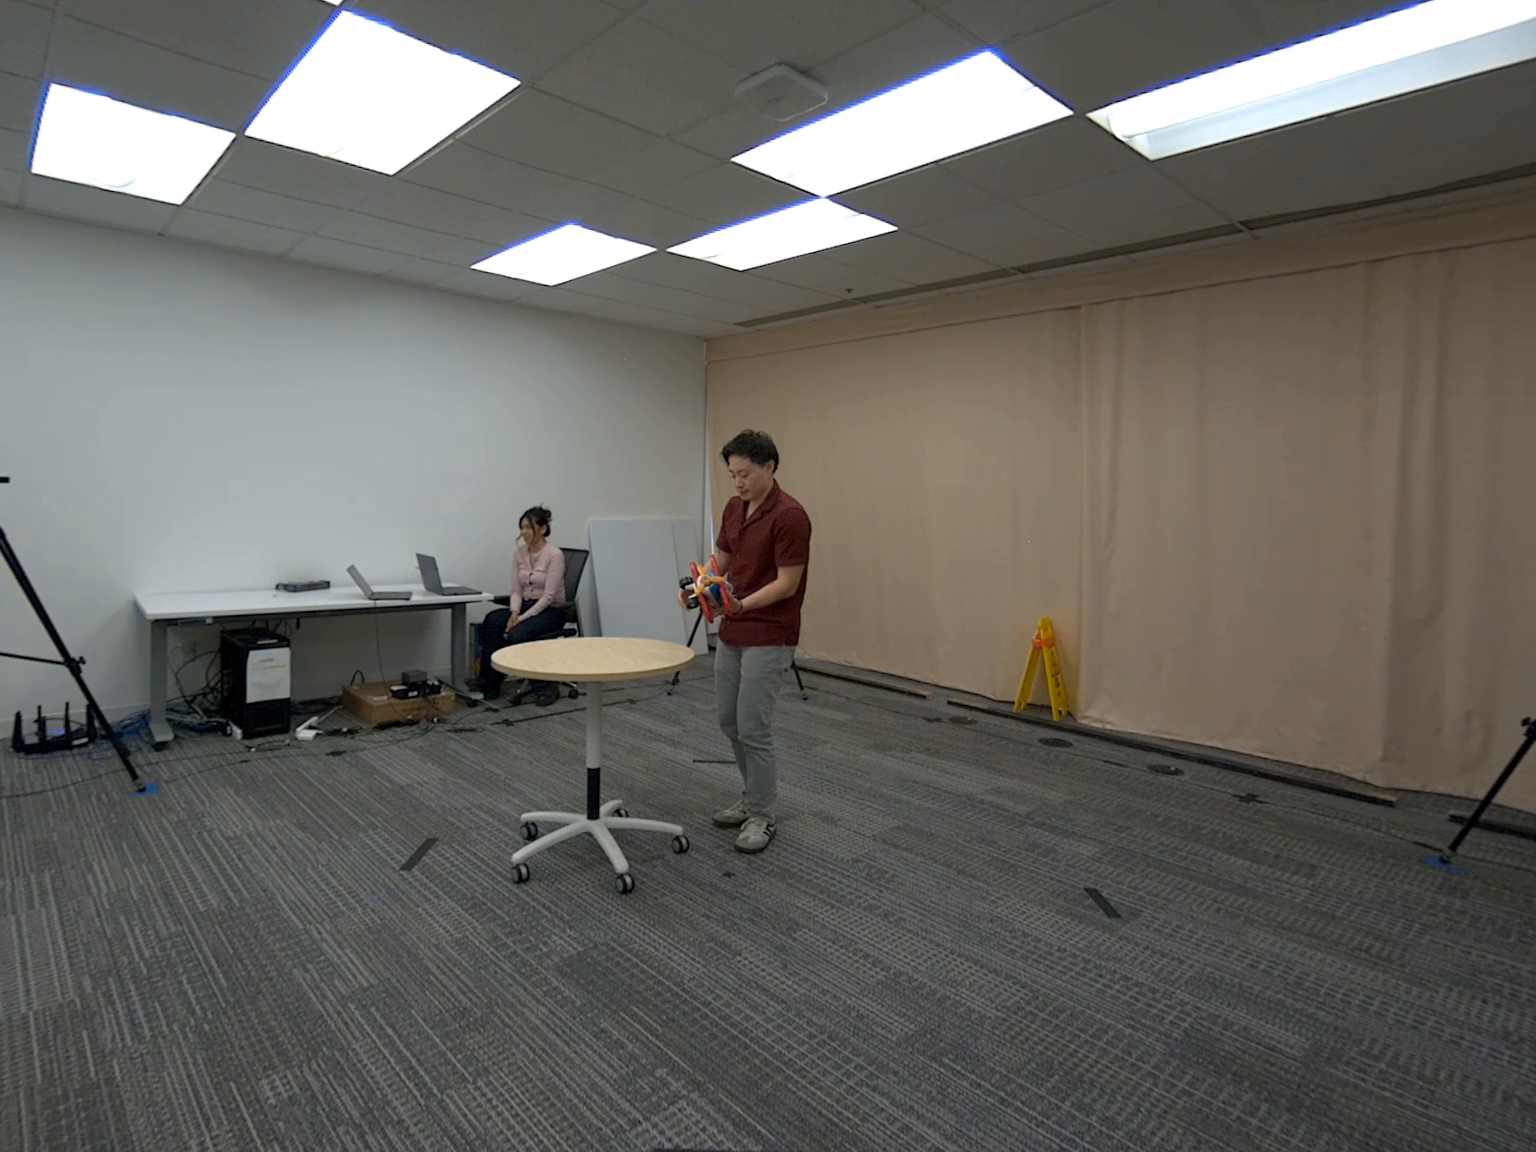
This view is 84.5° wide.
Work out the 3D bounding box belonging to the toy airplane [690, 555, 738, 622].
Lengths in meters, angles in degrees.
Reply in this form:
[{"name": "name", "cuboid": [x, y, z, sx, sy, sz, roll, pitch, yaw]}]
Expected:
[{"name": "toy airplane", "cuboid": [-0.236, 0.049, 3.178, 0.157, 0.252, 0.257, -24, -2, 14]}]
